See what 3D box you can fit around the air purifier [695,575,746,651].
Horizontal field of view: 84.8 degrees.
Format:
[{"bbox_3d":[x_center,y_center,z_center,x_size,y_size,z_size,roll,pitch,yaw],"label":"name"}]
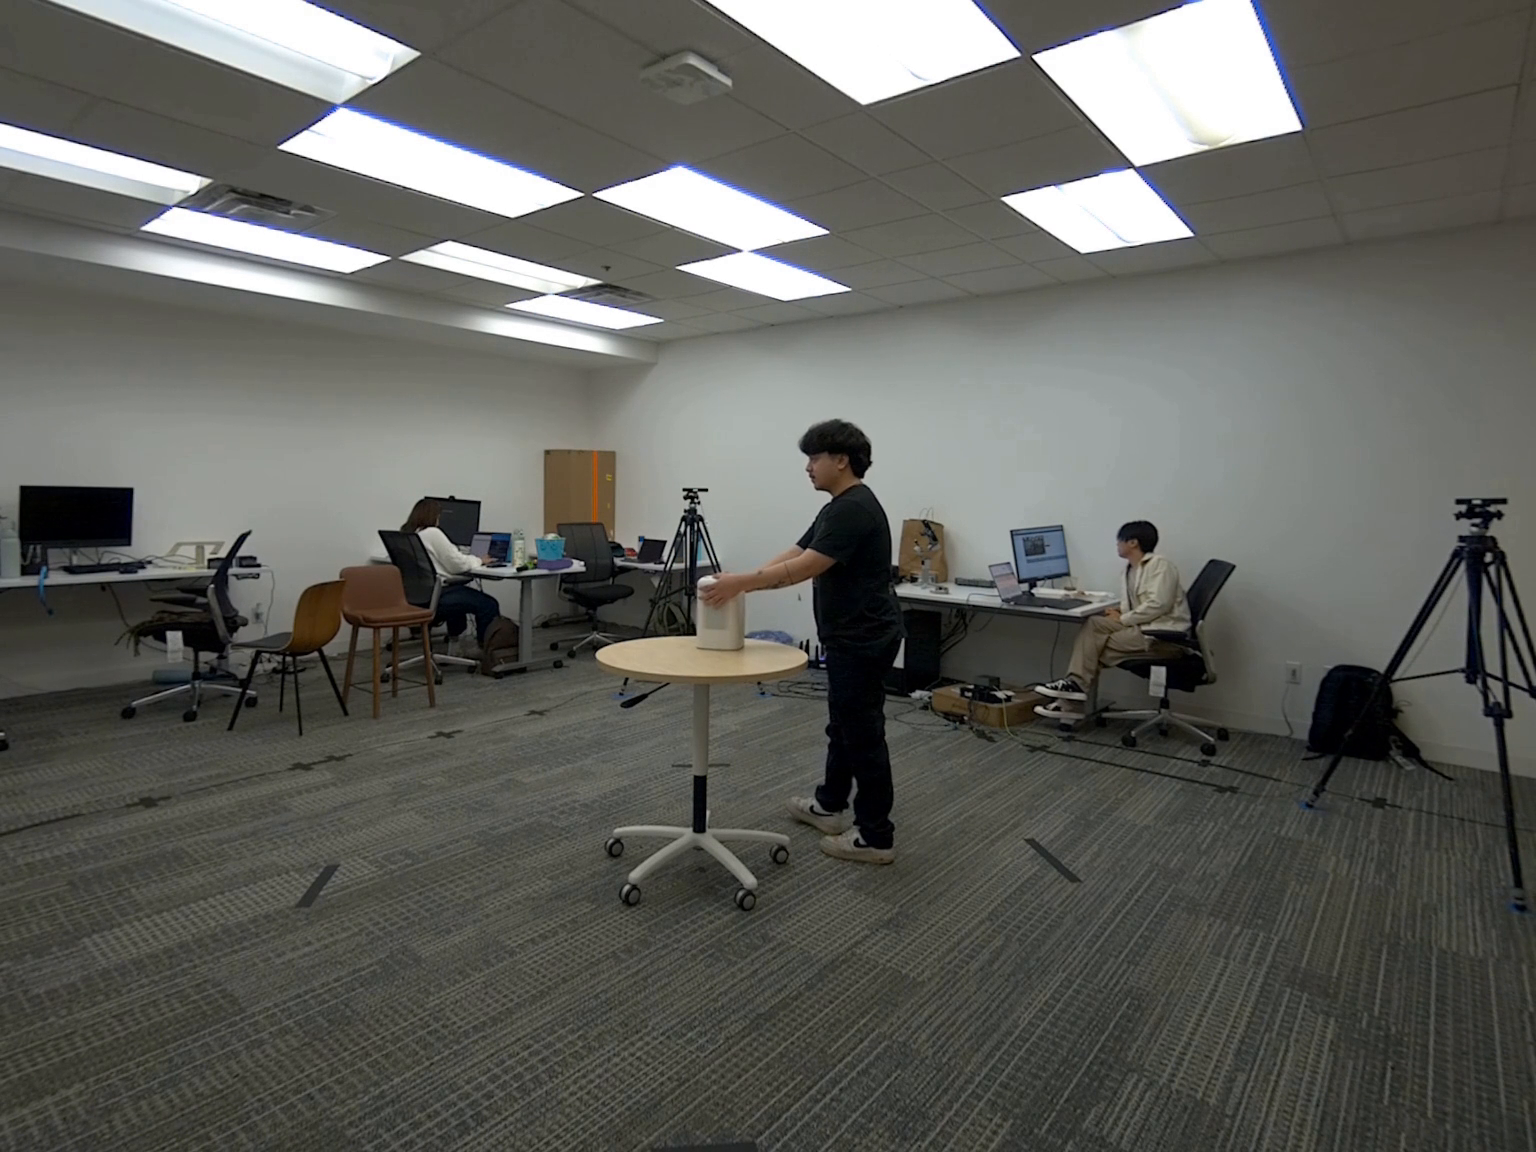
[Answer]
[{"bbox_3d":[-0.188,0.135,3.236,0.174,0.265,0.169,1,2,12],"label":"air purifier"}]
